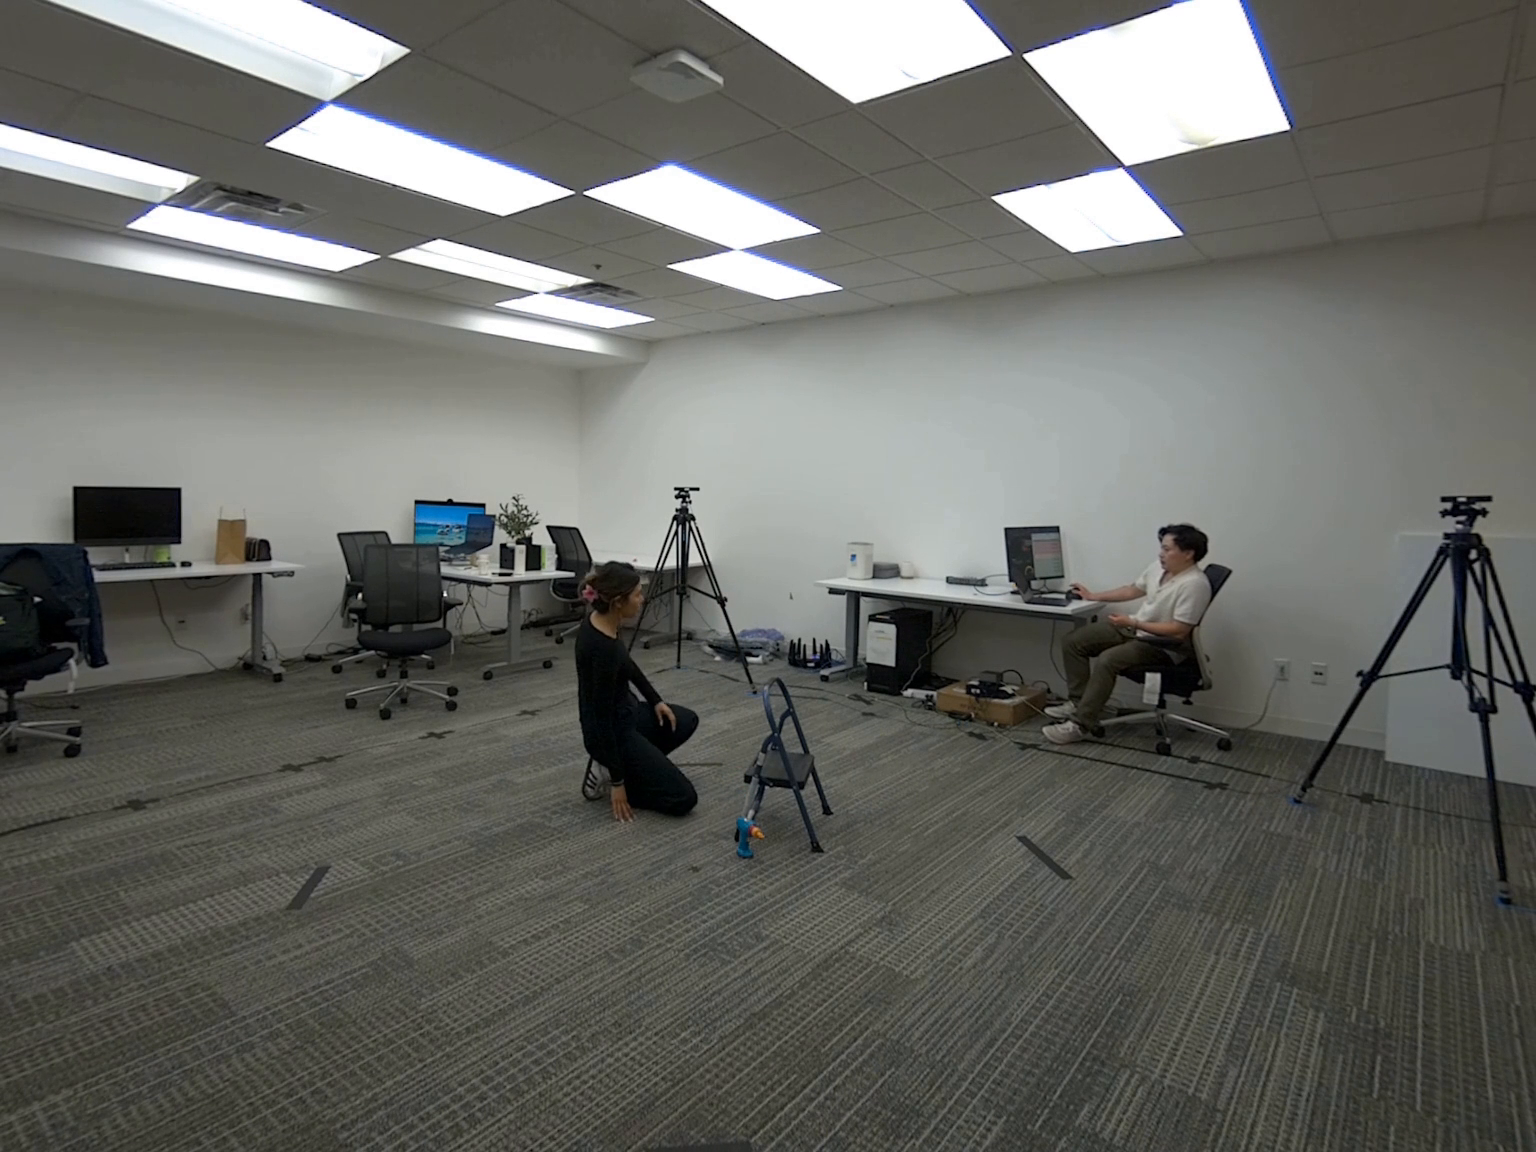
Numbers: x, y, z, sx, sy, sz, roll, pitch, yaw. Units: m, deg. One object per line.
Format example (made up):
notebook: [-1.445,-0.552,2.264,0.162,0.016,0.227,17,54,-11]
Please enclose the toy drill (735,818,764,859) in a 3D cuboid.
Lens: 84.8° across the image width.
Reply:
toy drill: [-0.079,0.991,3.196,0.059,0.145,0.175,-1,6,-32]
